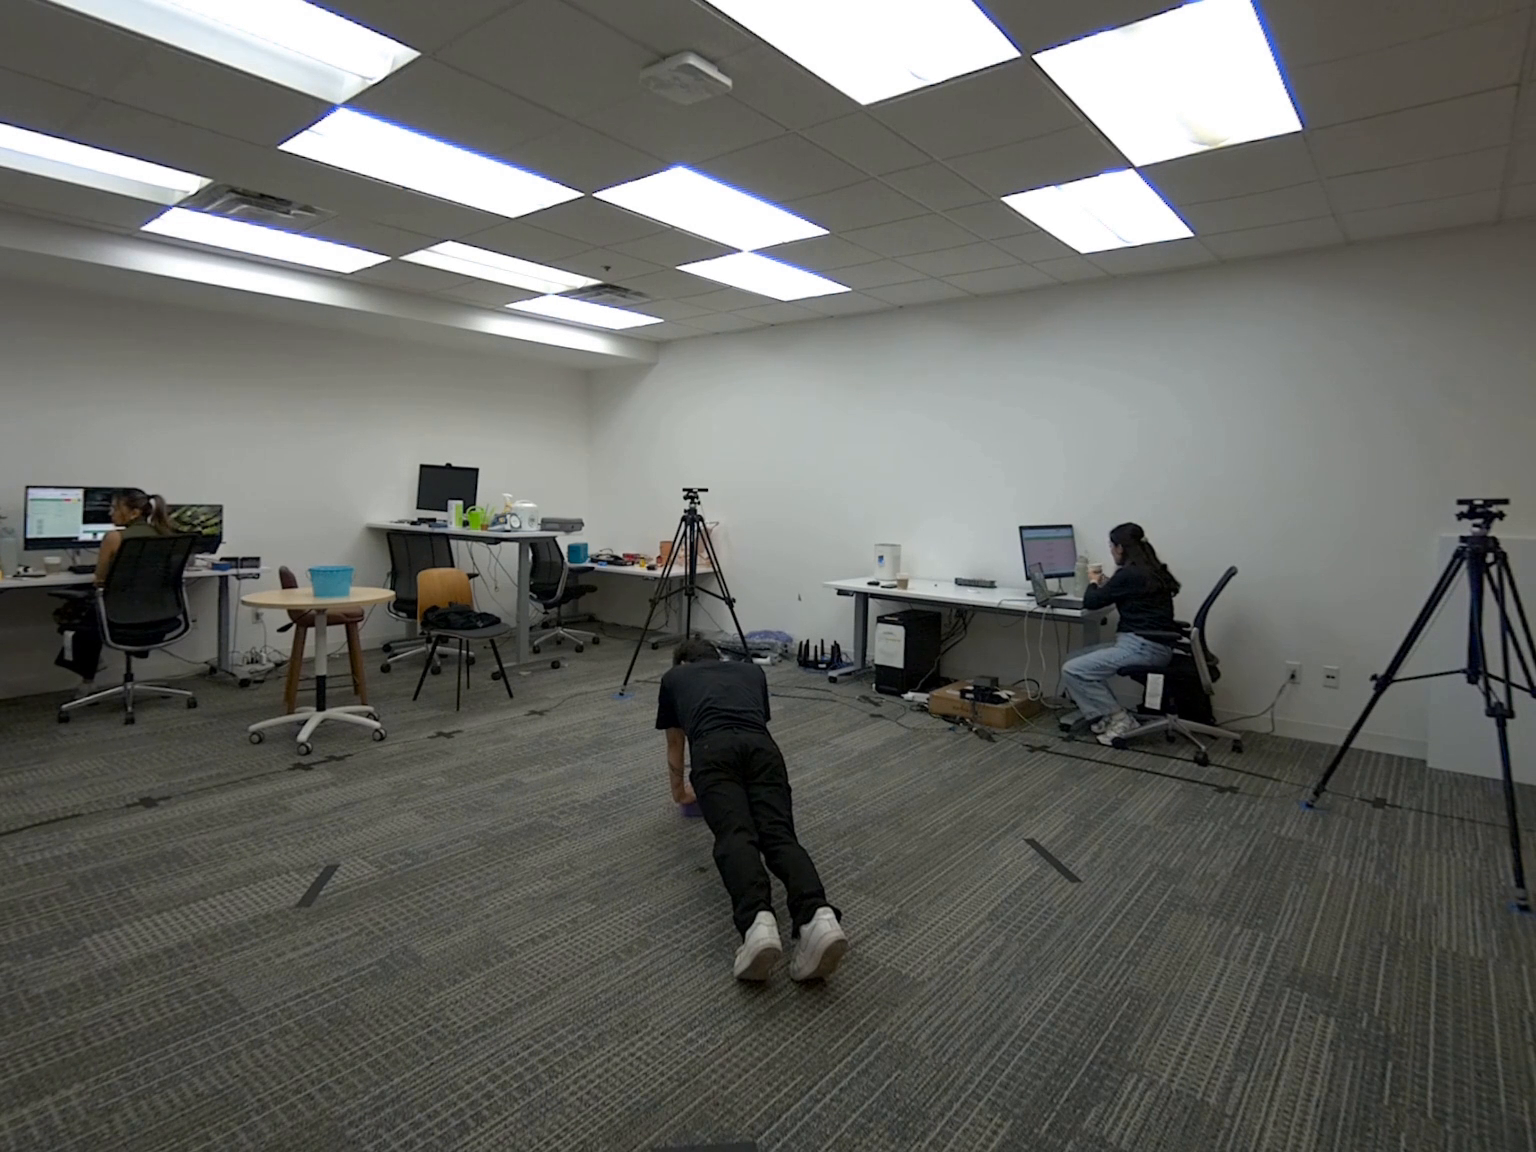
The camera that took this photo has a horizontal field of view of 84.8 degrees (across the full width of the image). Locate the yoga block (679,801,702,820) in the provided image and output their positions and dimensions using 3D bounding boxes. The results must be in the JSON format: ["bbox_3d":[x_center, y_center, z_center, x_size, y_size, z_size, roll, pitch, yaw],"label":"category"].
[{"bbox_3d":[-0.270,0.969,3.686,0.226,0.076,0.151,-1,5,-13],"label":"yoga block"}]
